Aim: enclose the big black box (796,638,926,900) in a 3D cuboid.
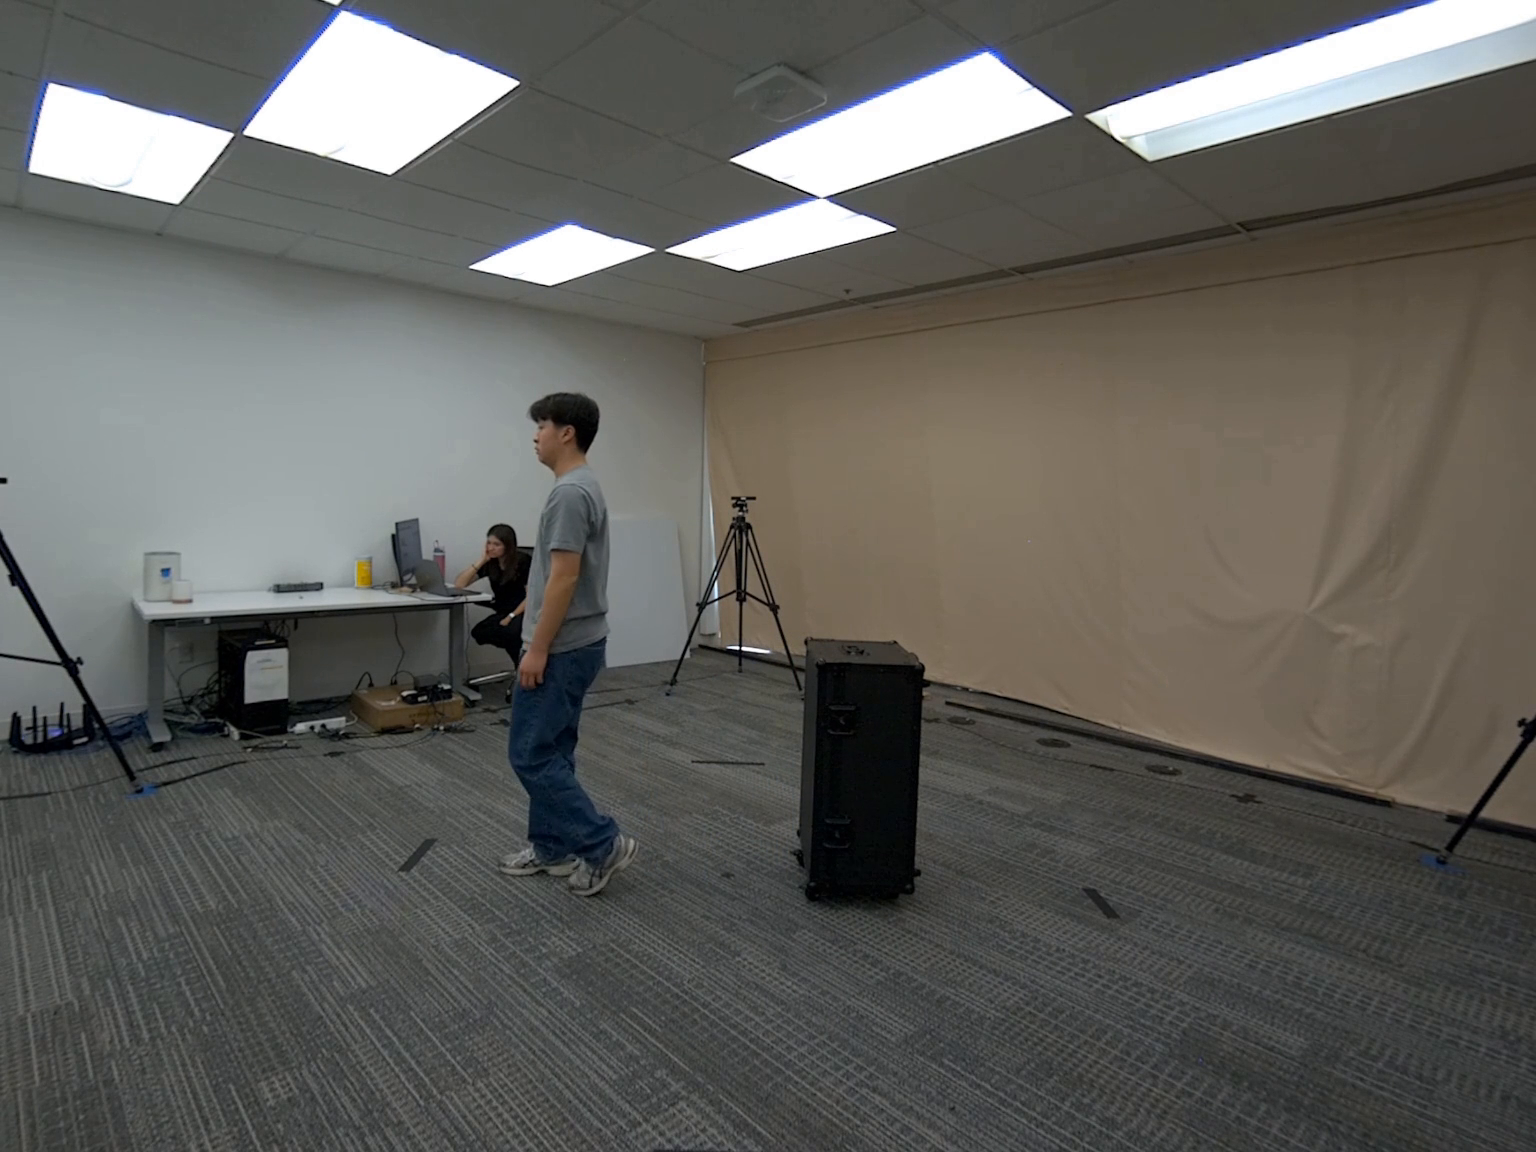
[{"bbox_3d":[0.326,0.644,3.047,0.396,0.859,0.523,2,4,-2],"label":"big black box"}]
